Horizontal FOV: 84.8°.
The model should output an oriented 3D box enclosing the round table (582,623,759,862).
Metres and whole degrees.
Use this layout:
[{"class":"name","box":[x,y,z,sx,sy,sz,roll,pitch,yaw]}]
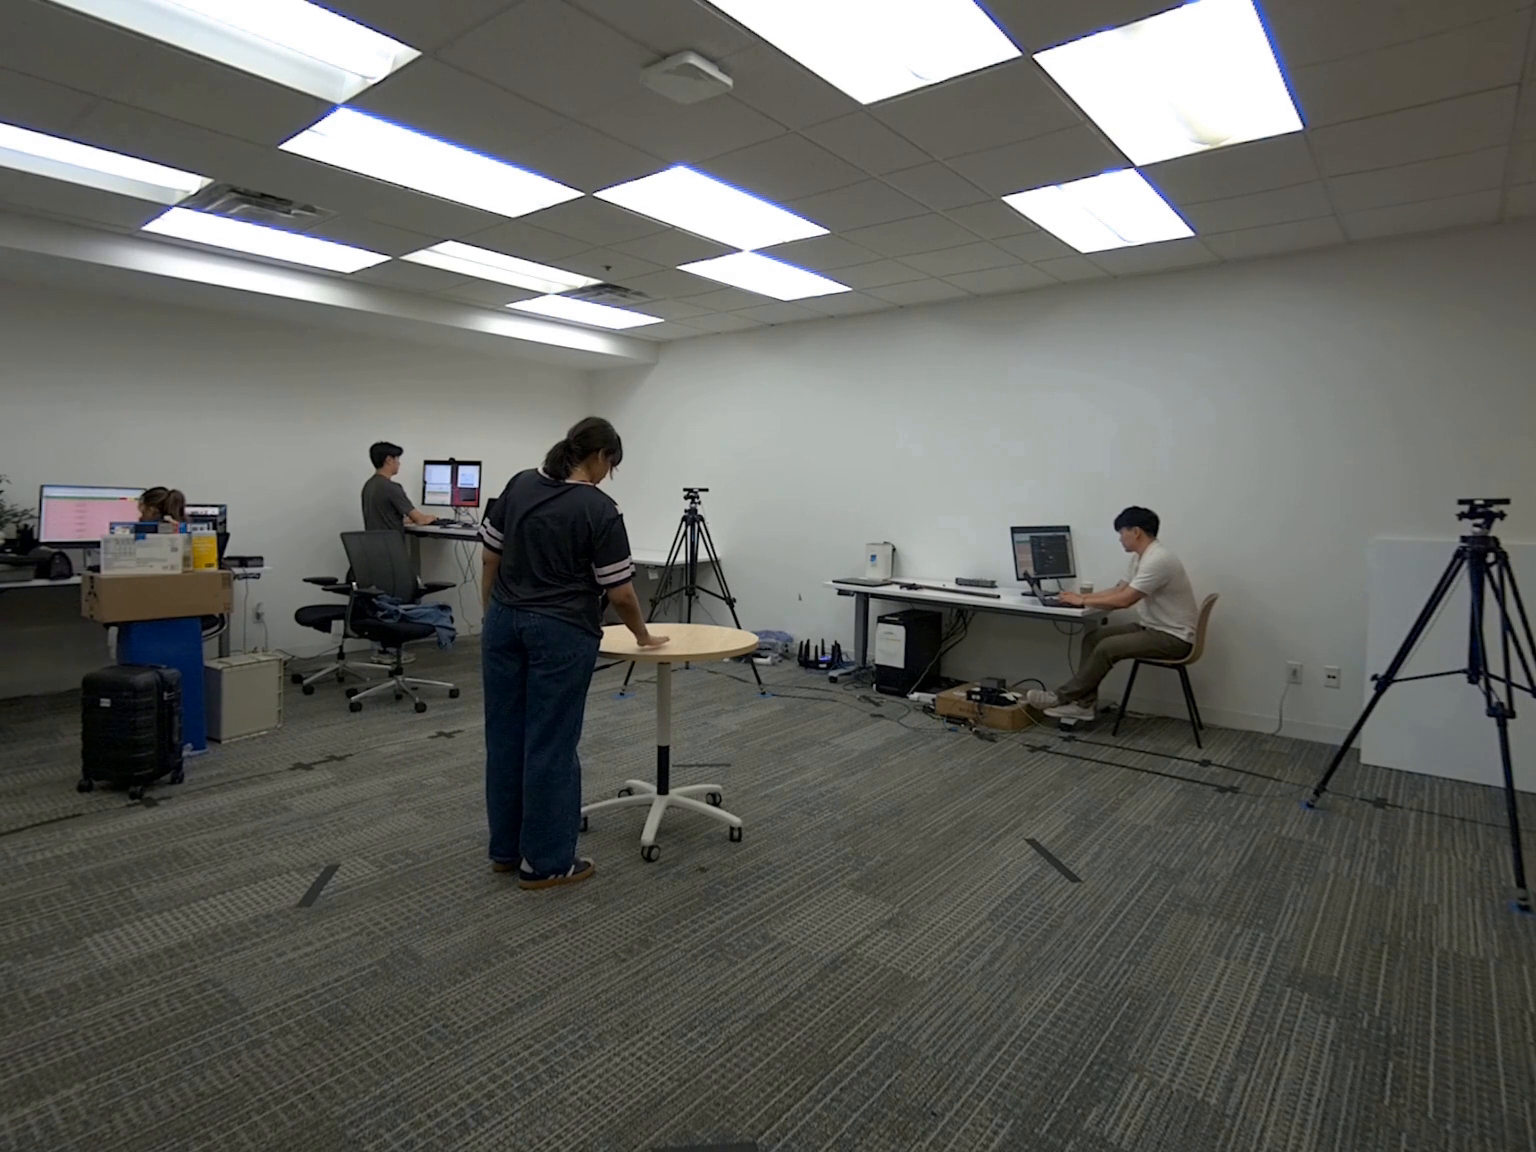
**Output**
[{"class":"round table","box":[-0.451,0.636,3.480,0.784,0.784,0.788,1,3,-2]}]
